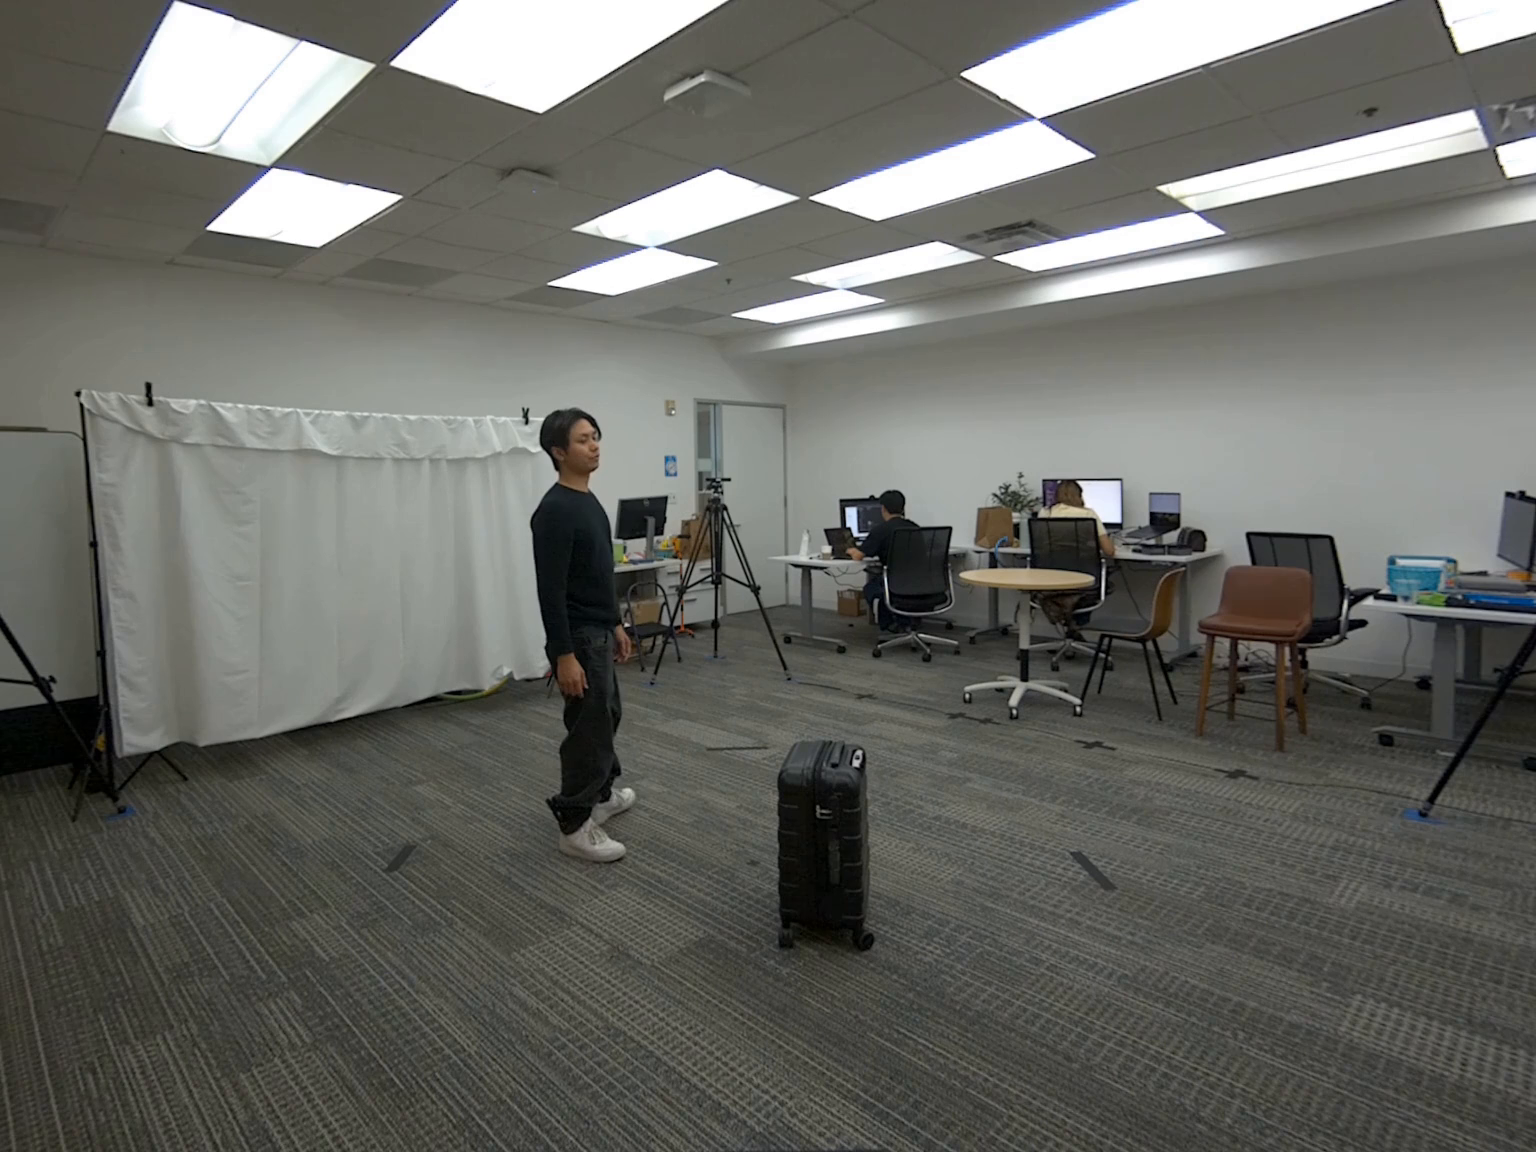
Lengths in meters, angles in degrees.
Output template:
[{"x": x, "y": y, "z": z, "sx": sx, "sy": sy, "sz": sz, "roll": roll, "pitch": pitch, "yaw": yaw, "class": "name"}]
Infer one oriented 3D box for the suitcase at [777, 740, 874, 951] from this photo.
[{"x": 0.181, "y": 0.810, "z": 2.672, "sx": 0.251, "sy": 0.547, "sz": 0.373, "roll": -1, "pitch": 5, "yaw": 12, "class": "suitcase"}]
